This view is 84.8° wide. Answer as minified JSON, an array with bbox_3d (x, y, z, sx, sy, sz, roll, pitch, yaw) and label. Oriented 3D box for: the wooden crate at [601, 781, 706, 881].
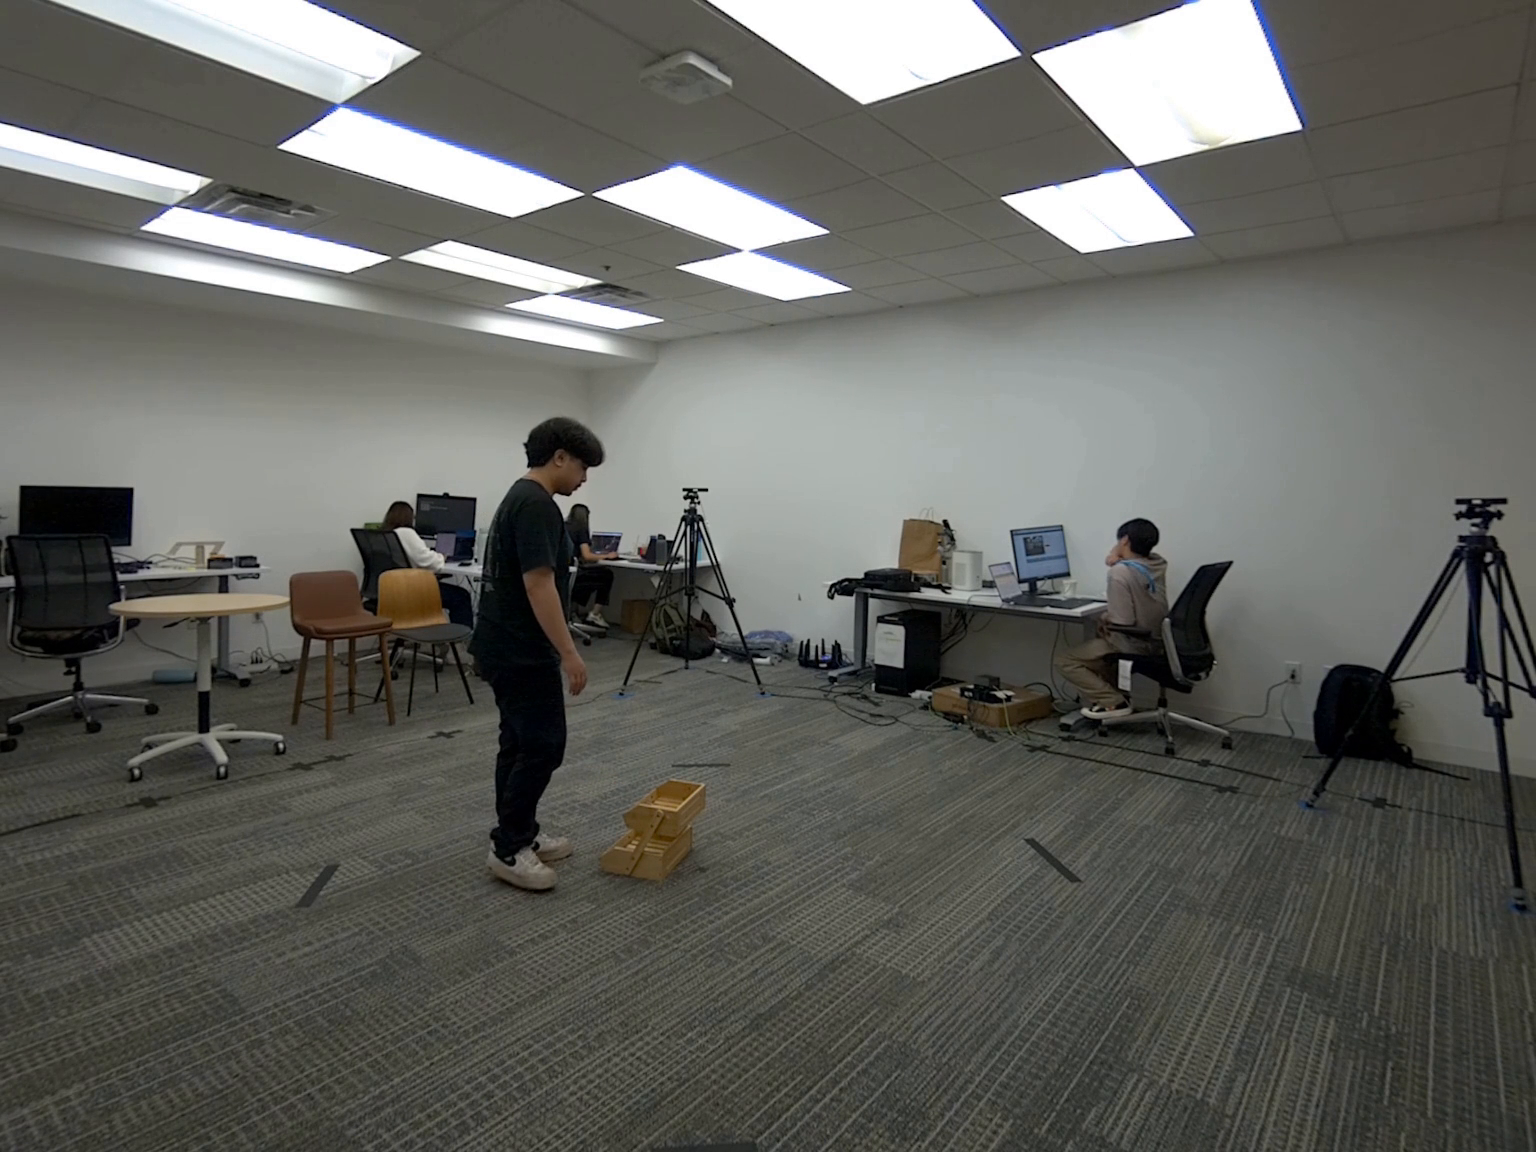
[{"bbox_3d":[-0.444,0.935,3.171,0.308,0.272,0.319,2,4,17],"label":"wooden crate"}]
